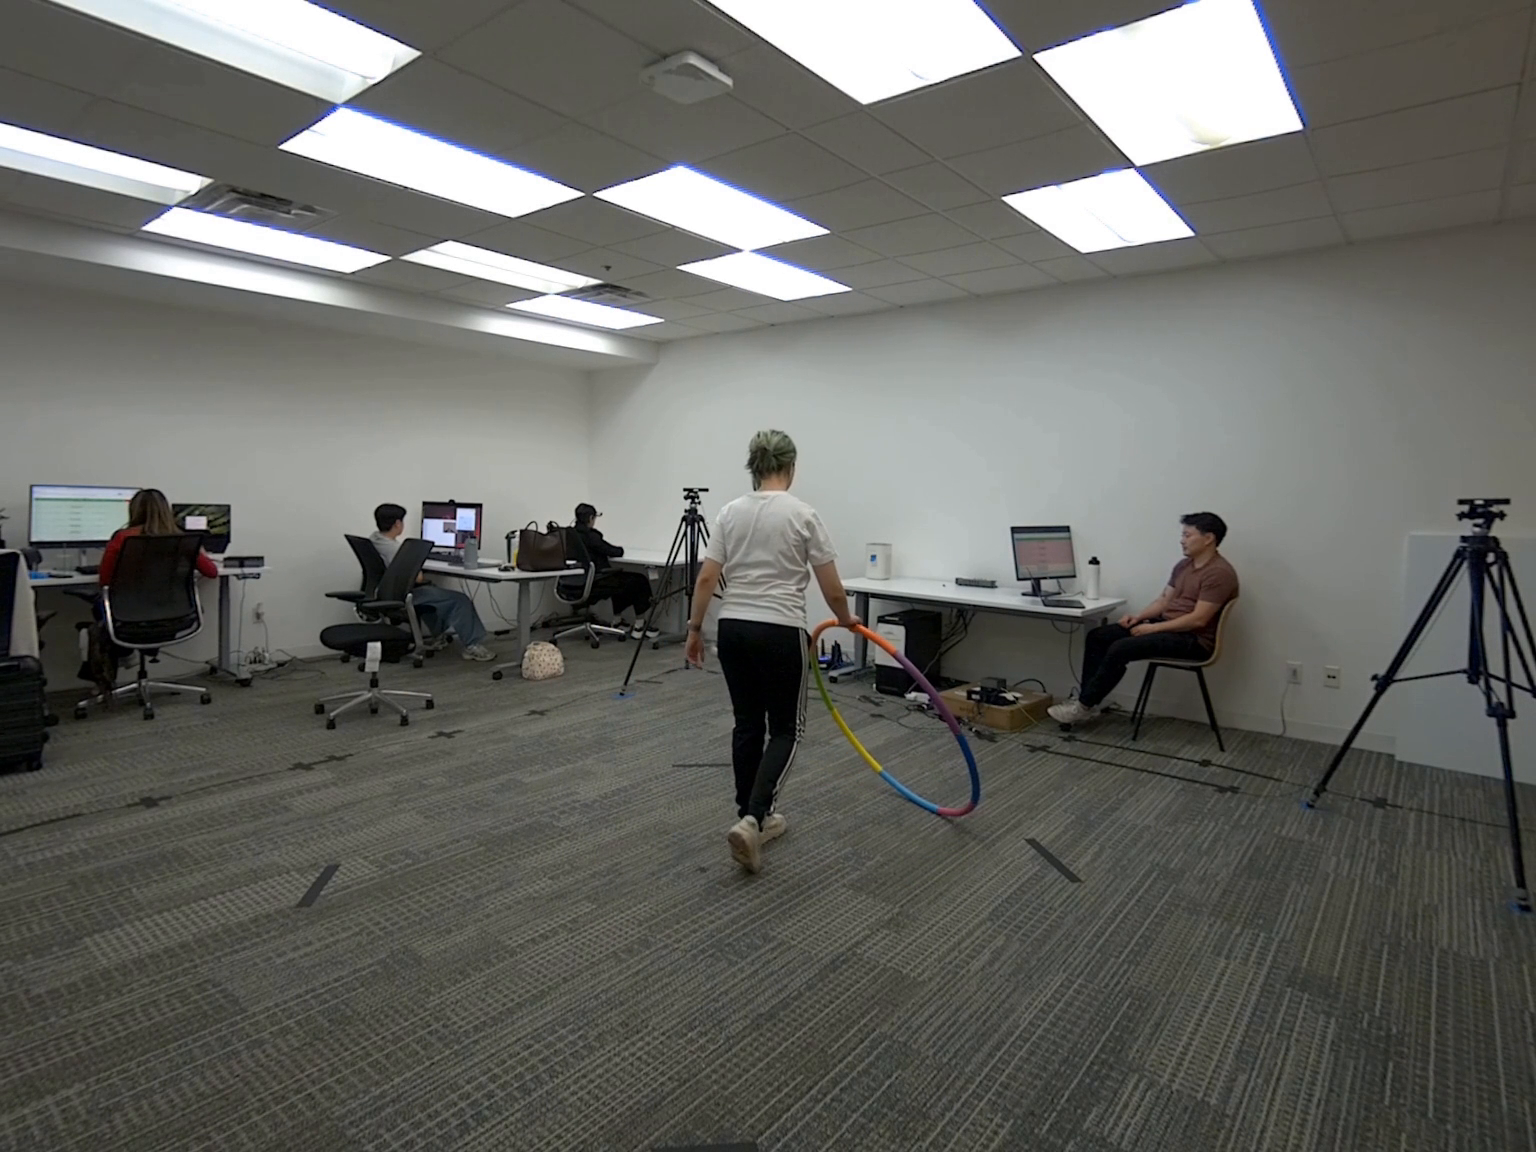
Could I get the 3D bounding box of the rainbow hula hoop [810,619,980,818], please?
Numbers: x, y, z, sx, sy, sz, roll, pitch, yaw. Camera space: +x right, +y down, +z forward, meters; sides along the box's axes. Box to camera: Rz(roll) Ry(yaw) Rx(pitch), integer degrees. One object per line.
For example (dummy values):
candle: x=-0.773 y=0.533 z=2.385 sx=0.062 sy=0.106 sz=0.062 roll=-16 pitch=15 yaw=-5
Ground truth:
rainbow hula hoop: x=0.498 y=0.601 z=3.636 sx=0.035 sy=0.958 sz=1.008 roll=-33 pitch=19 yaw=-23
